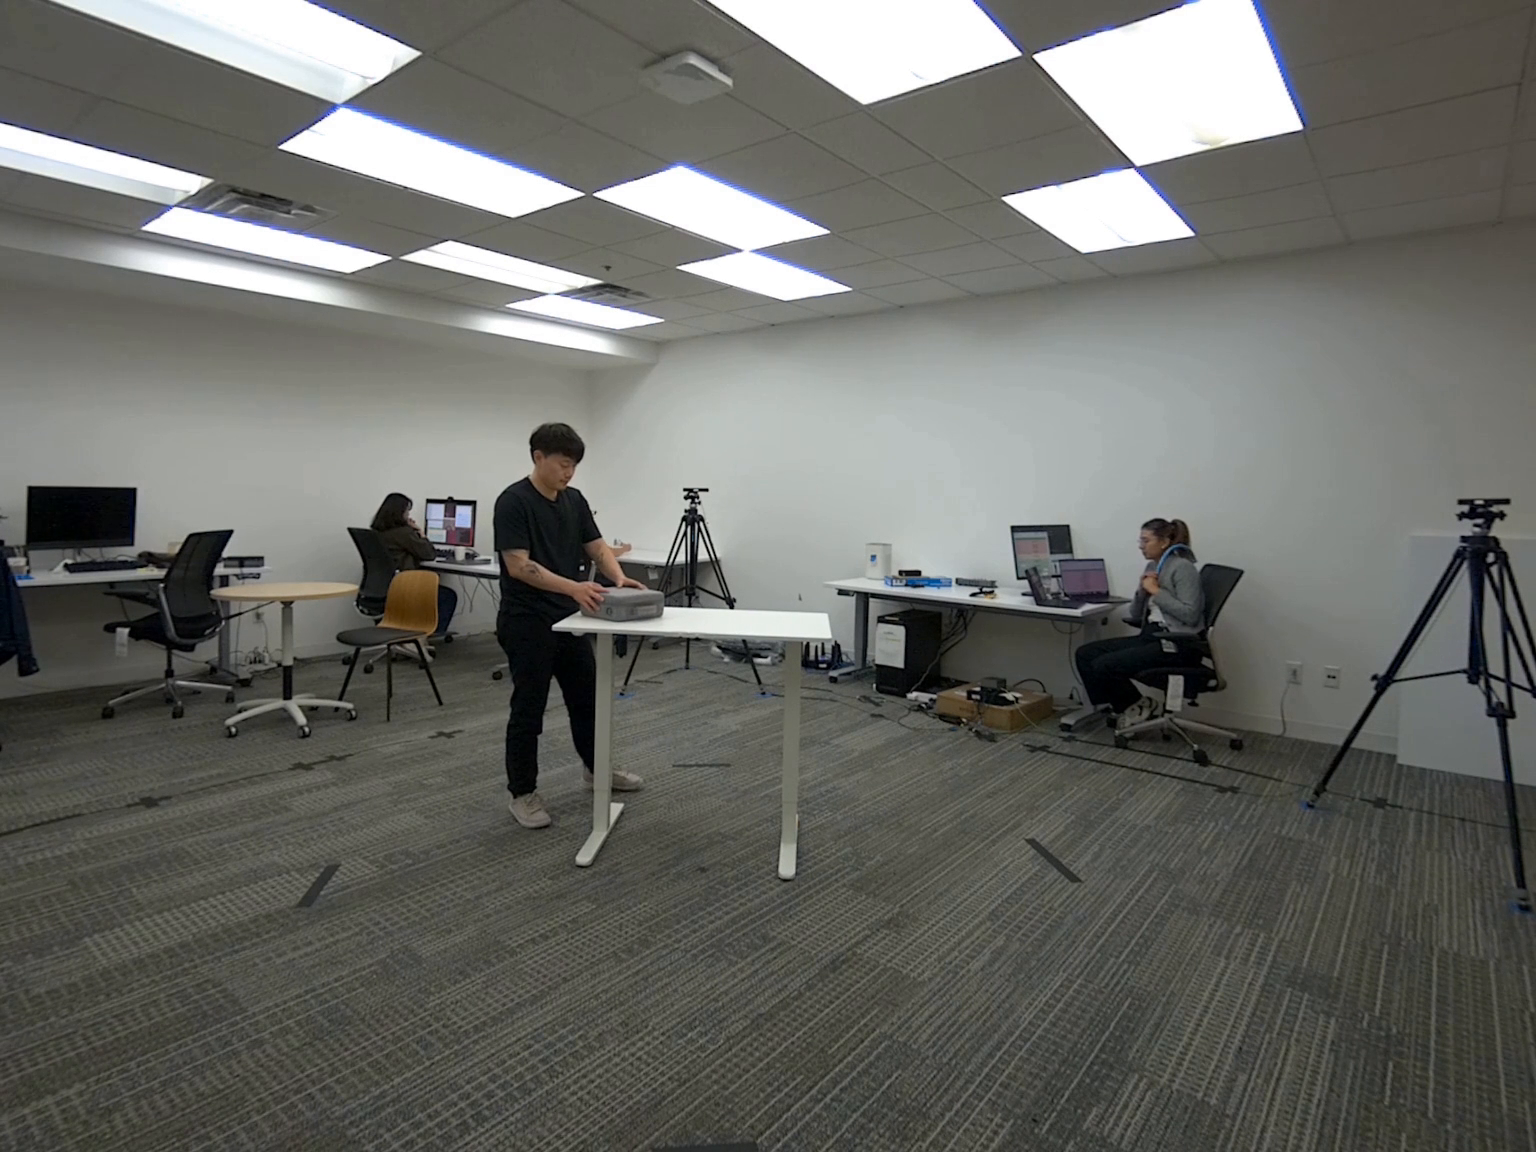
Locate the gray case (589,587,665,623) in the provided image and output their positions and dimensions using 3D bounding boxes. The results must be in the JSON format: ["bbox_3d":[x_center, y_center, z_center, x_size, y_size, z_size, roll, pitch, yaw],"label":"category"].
[{"bbox_3d":[-0.576,0.105,3.344,0.270,0.104,0.249,7,6,40],"label":"gray case"}]
